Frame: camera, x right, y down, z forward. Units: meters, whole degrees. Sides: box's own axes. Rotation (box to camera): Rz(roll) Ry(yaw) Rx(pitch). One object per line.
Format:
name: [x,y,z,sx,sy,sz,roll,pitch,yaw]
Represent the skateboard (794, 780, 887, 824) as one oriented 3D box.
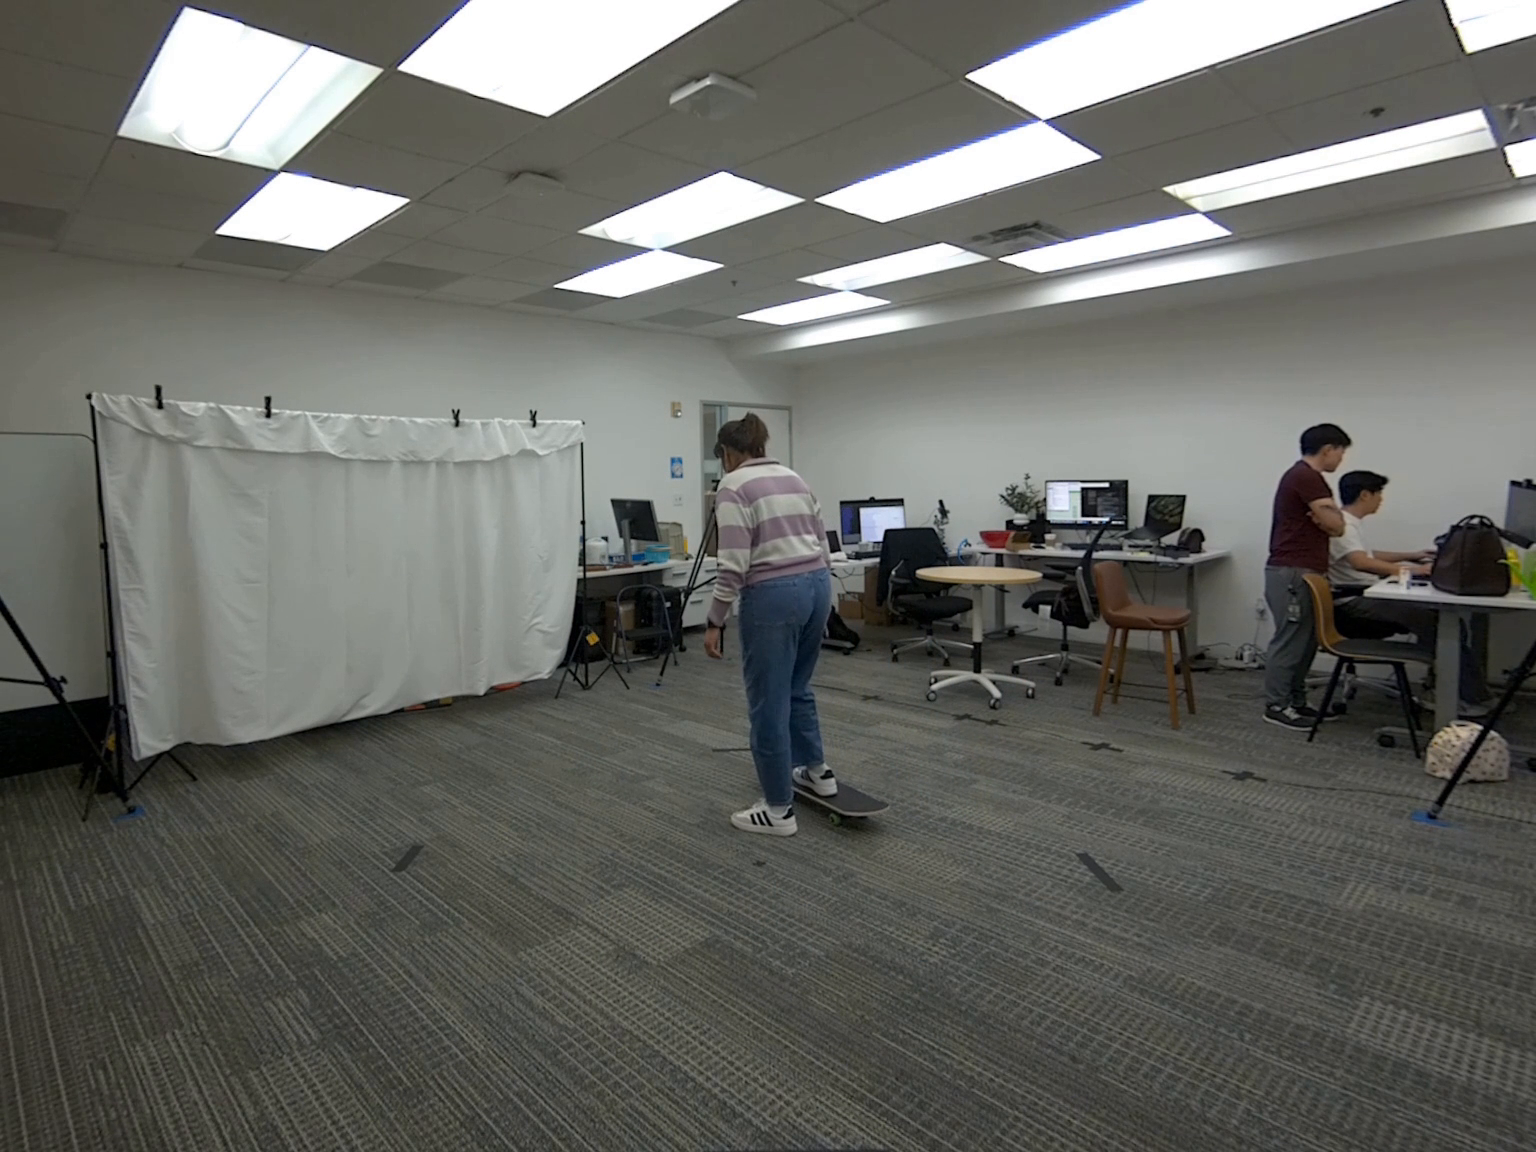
skateboard: [0.216,0.927,3.647,0.189,0.110,0.809,-7,9,-34]
